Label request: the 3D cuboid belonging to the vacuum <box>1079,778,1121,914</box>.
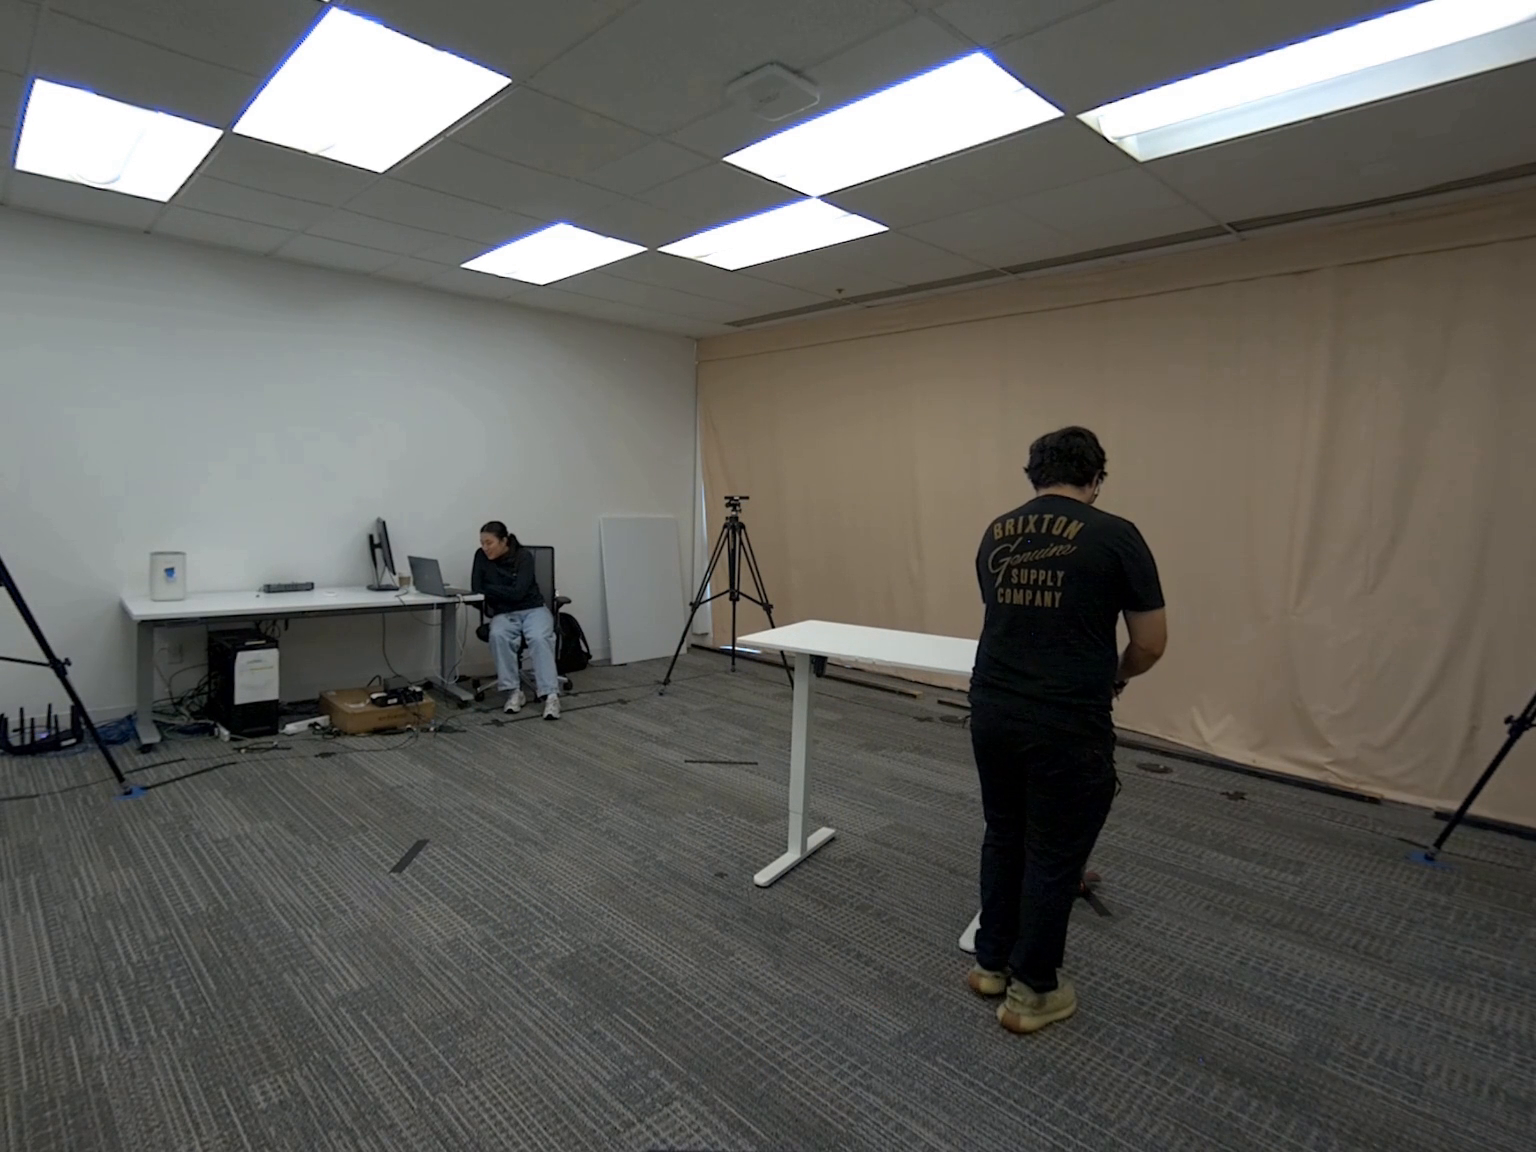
[{"bbox_3d":[1.032,0.719,2.758,0.253,1.024,0.147,-4,38,2],"label":"vacuum"}]
